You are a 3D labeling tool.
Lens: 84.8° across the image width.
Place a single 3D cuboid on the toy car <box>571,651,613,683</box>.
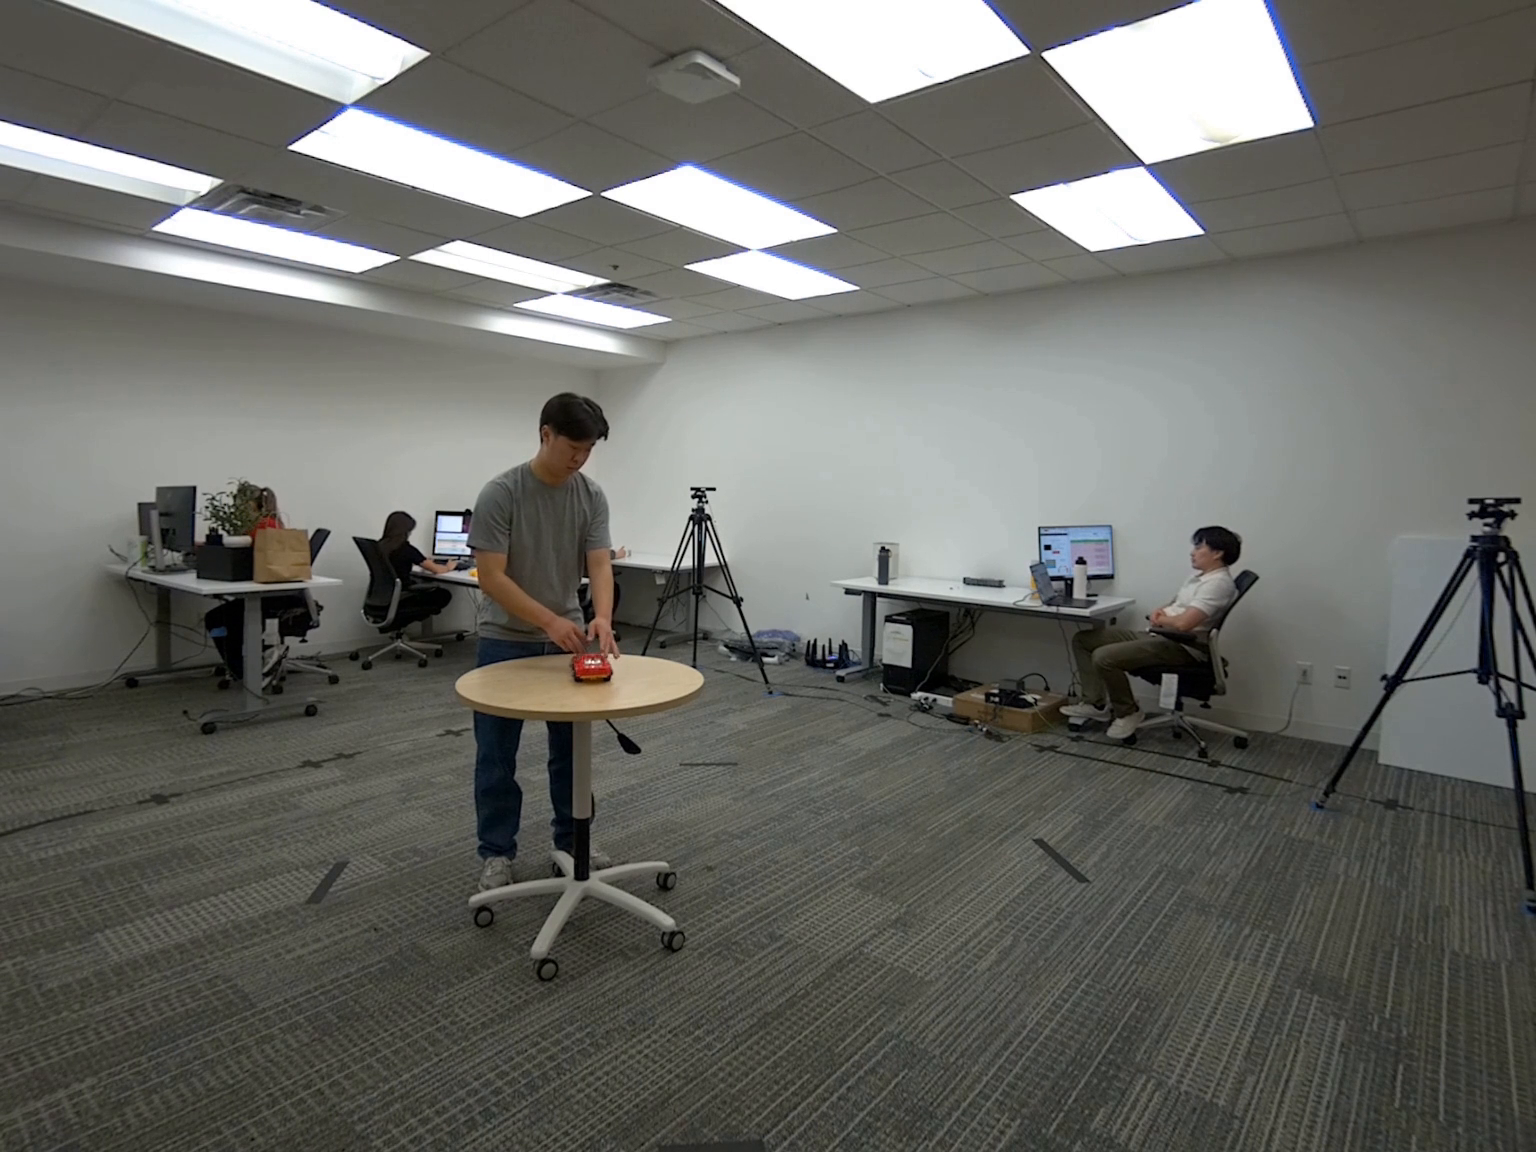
[{"bbox_3d":[-0.578,0.289,2.685,0.128,0.084,0.257,0,-6,-16],"label":"toy car"}]
